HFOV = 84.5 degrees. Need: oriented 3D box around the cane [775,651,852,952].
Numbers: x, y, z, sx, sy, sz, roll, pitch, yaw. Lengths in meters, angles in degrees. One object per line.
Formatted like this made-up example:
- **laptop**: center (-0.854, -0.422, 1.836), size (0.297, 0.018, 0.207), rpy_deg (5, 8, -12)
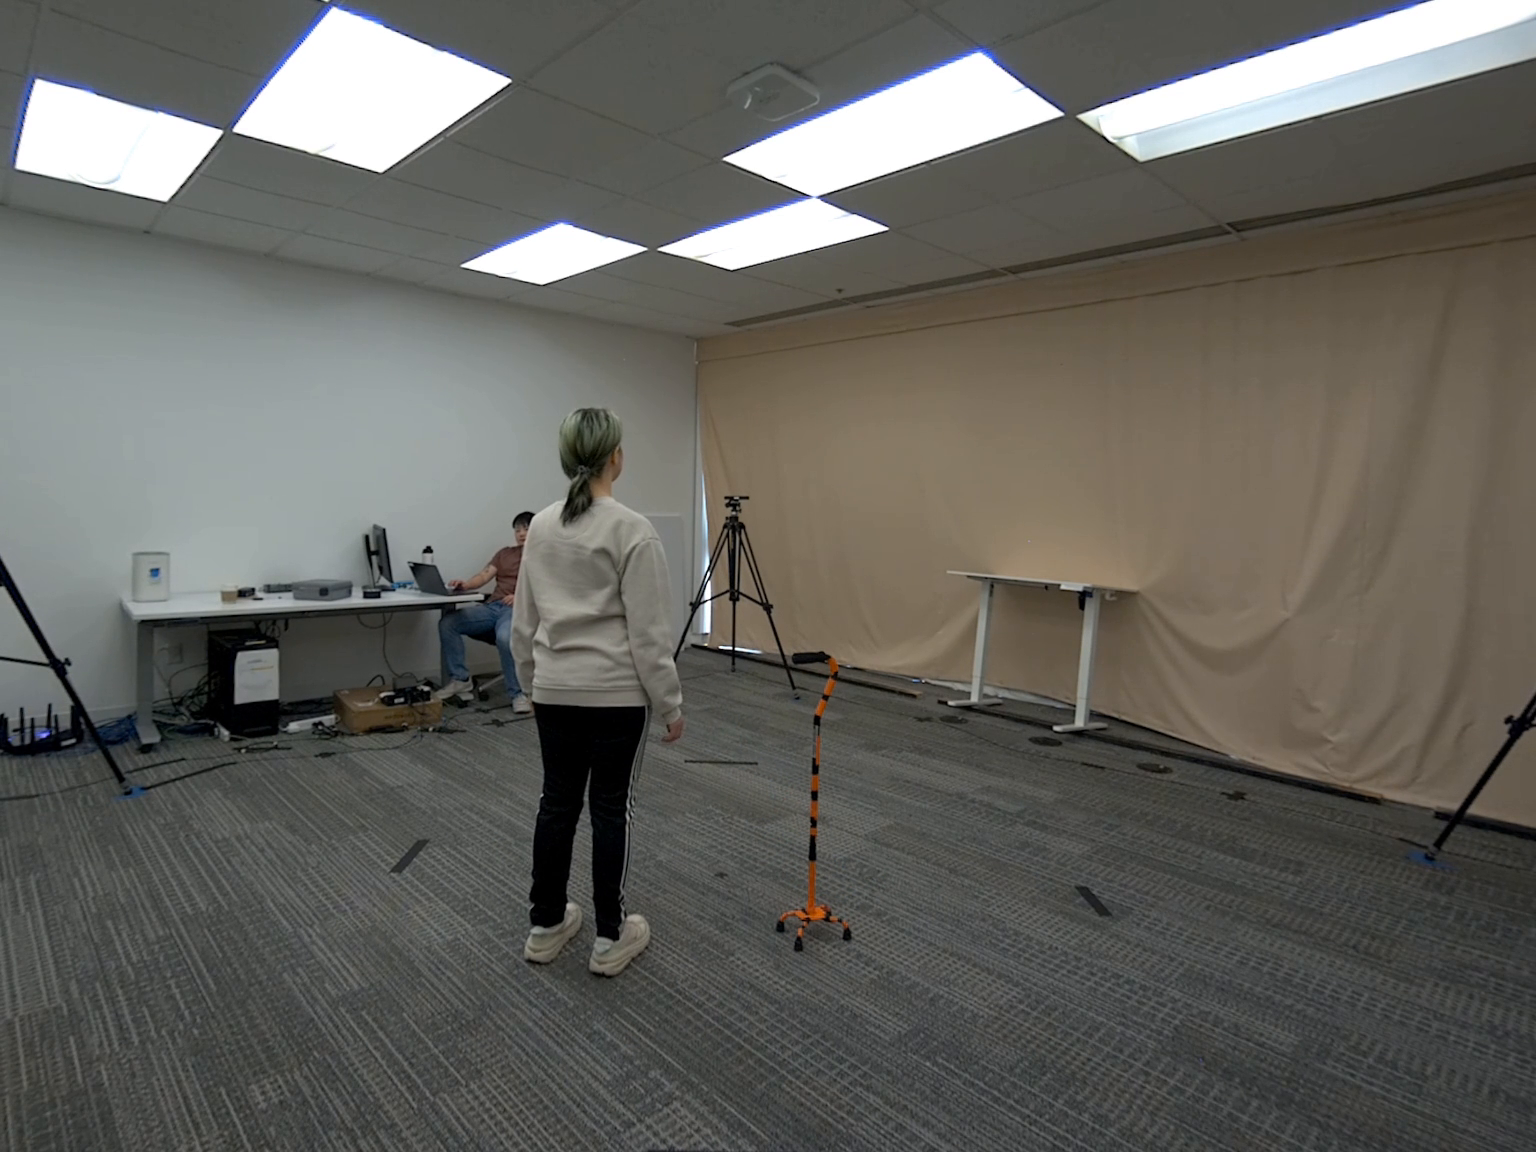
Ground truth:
- **cane**: center (0.152, 0.699, 2.661), size (0.203, 0.905, 0.155), rpy_deg (0, 4, -26)
